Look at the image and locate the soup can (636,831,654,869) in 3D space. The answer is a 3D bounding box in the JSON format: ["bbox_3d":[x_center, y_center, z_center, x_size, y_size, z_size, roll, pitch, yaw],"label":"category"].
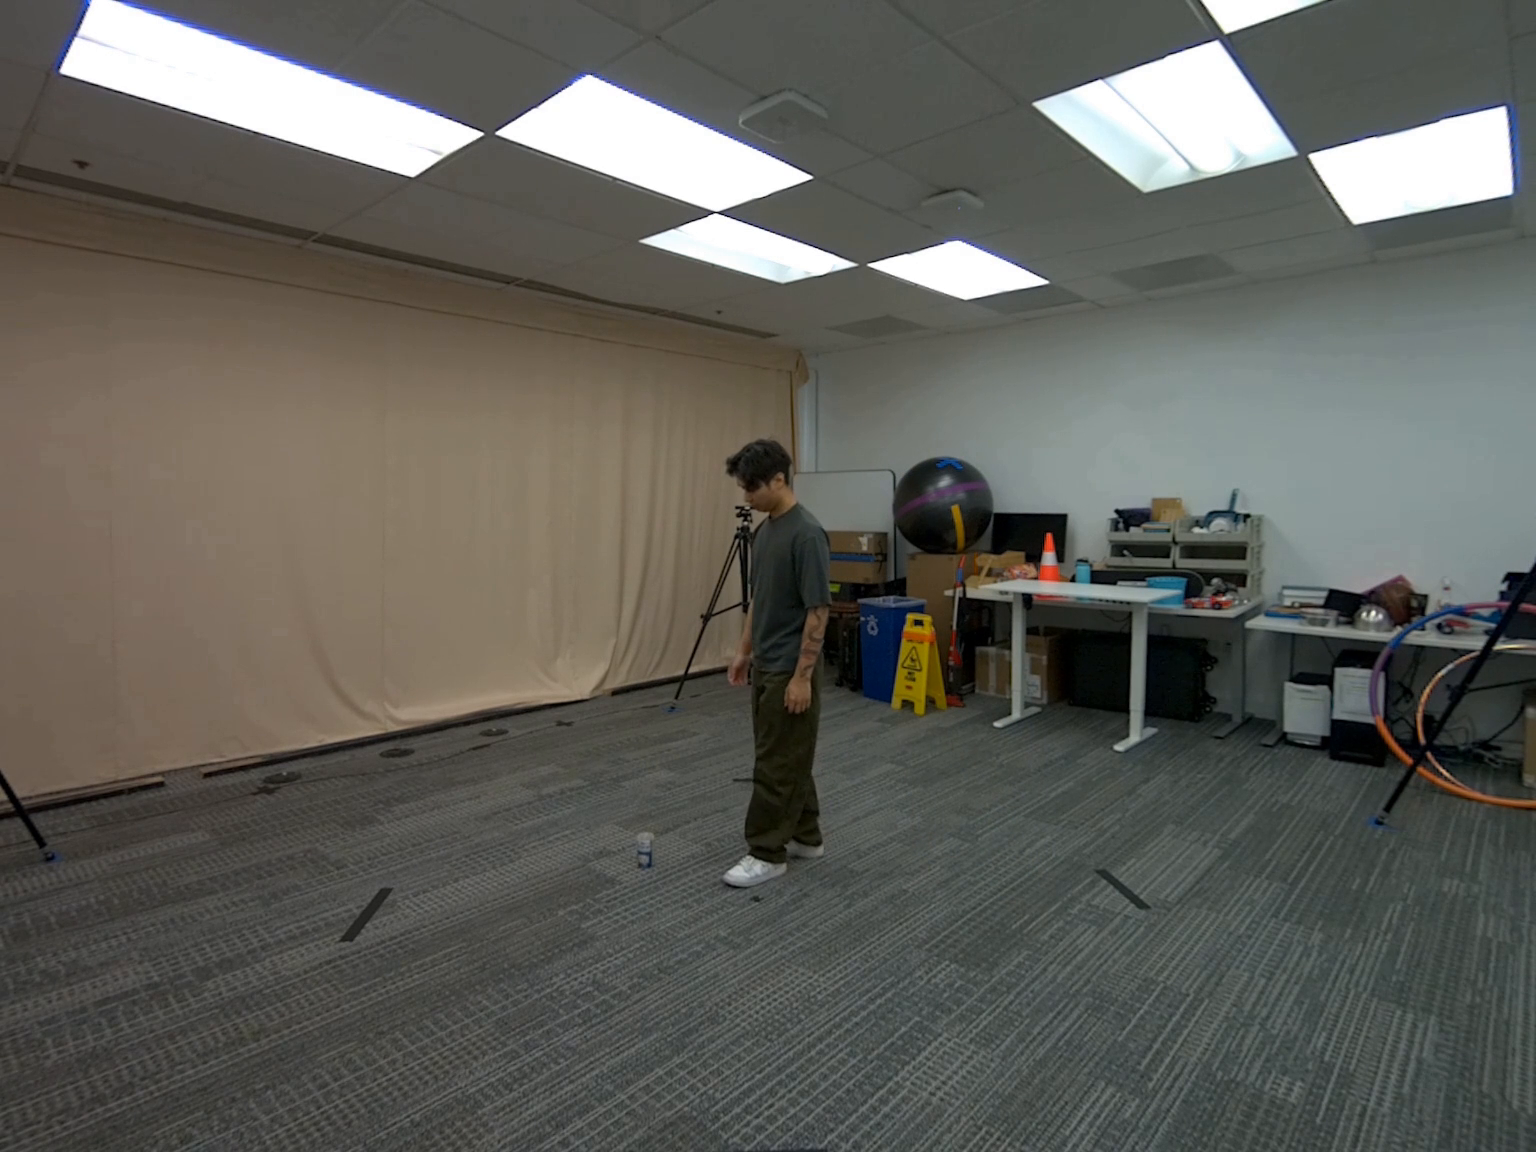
[{"bbox_3d":[-0.472,1.066,3.268,0.067,0.121,0.067,-2,2,-2],"label":"soup can"}]
